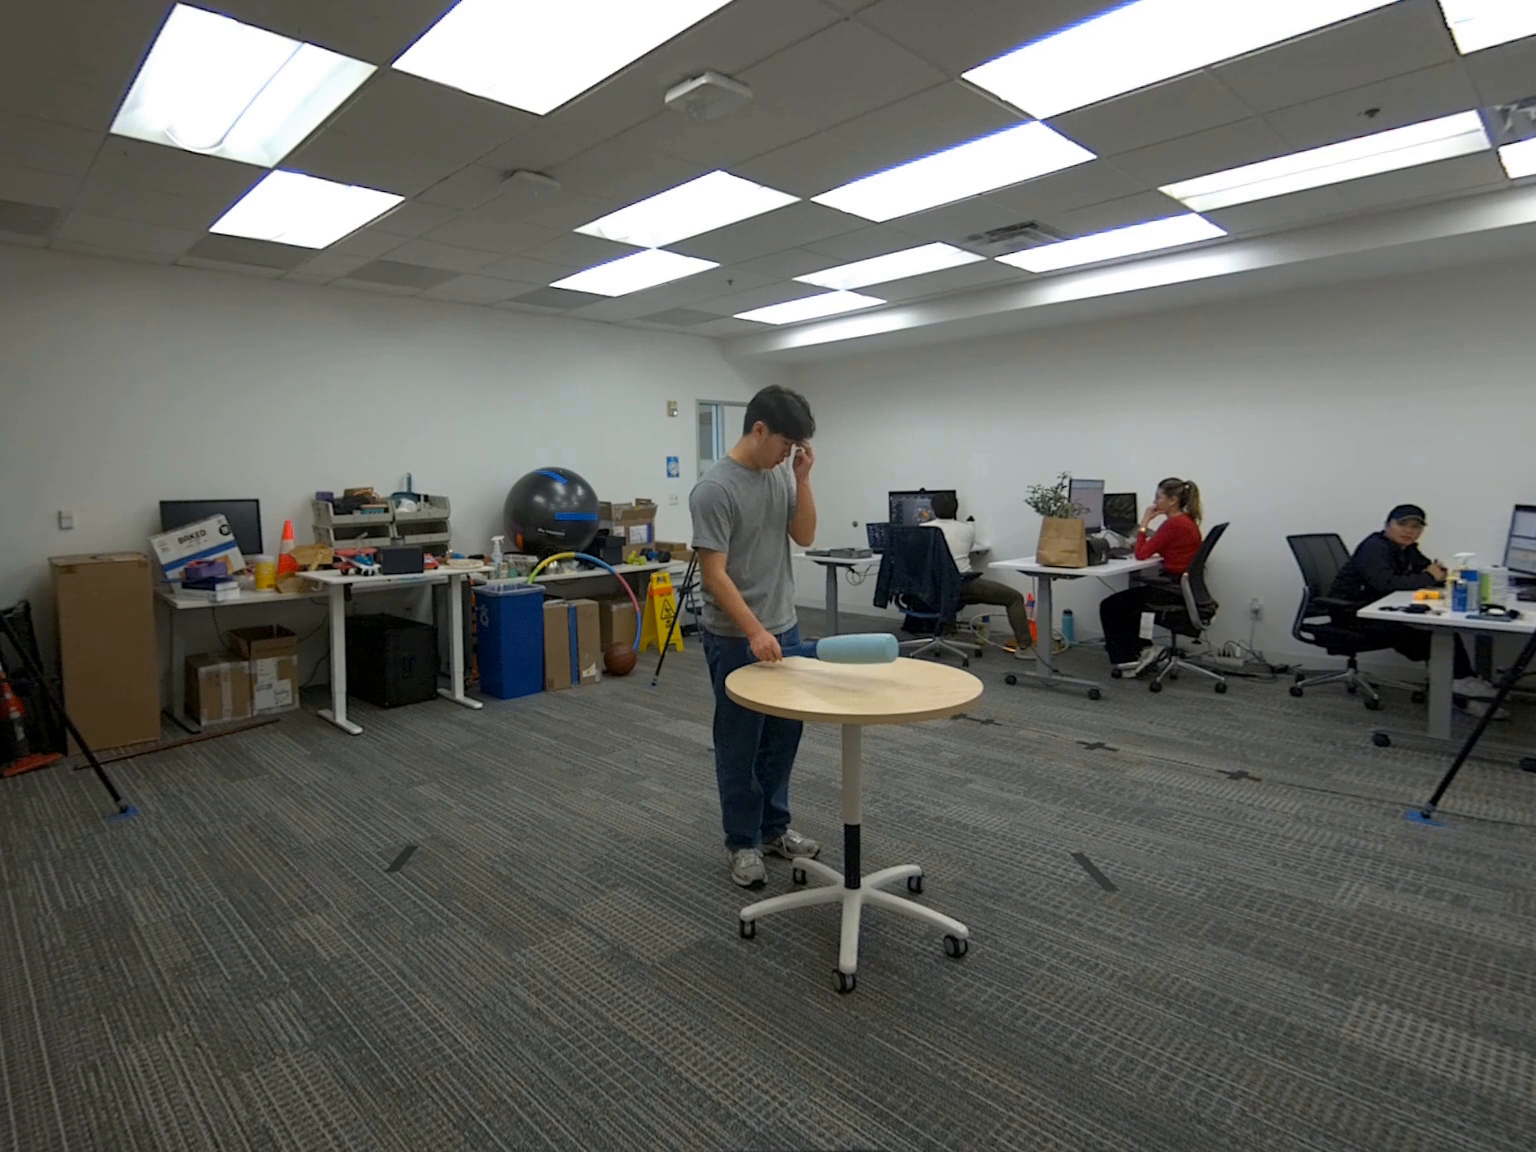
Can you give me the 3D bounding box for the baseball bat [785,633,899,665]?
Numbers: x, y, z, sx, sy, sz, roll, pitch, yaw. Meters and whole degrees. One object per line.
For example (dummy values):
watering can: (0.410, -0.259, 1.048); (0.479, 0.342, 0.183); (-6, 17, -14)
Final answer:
baseball bat: (0.161, 0.239, 2.637); (0.556, 0.089, 0.087); (-7, 0, 38)
